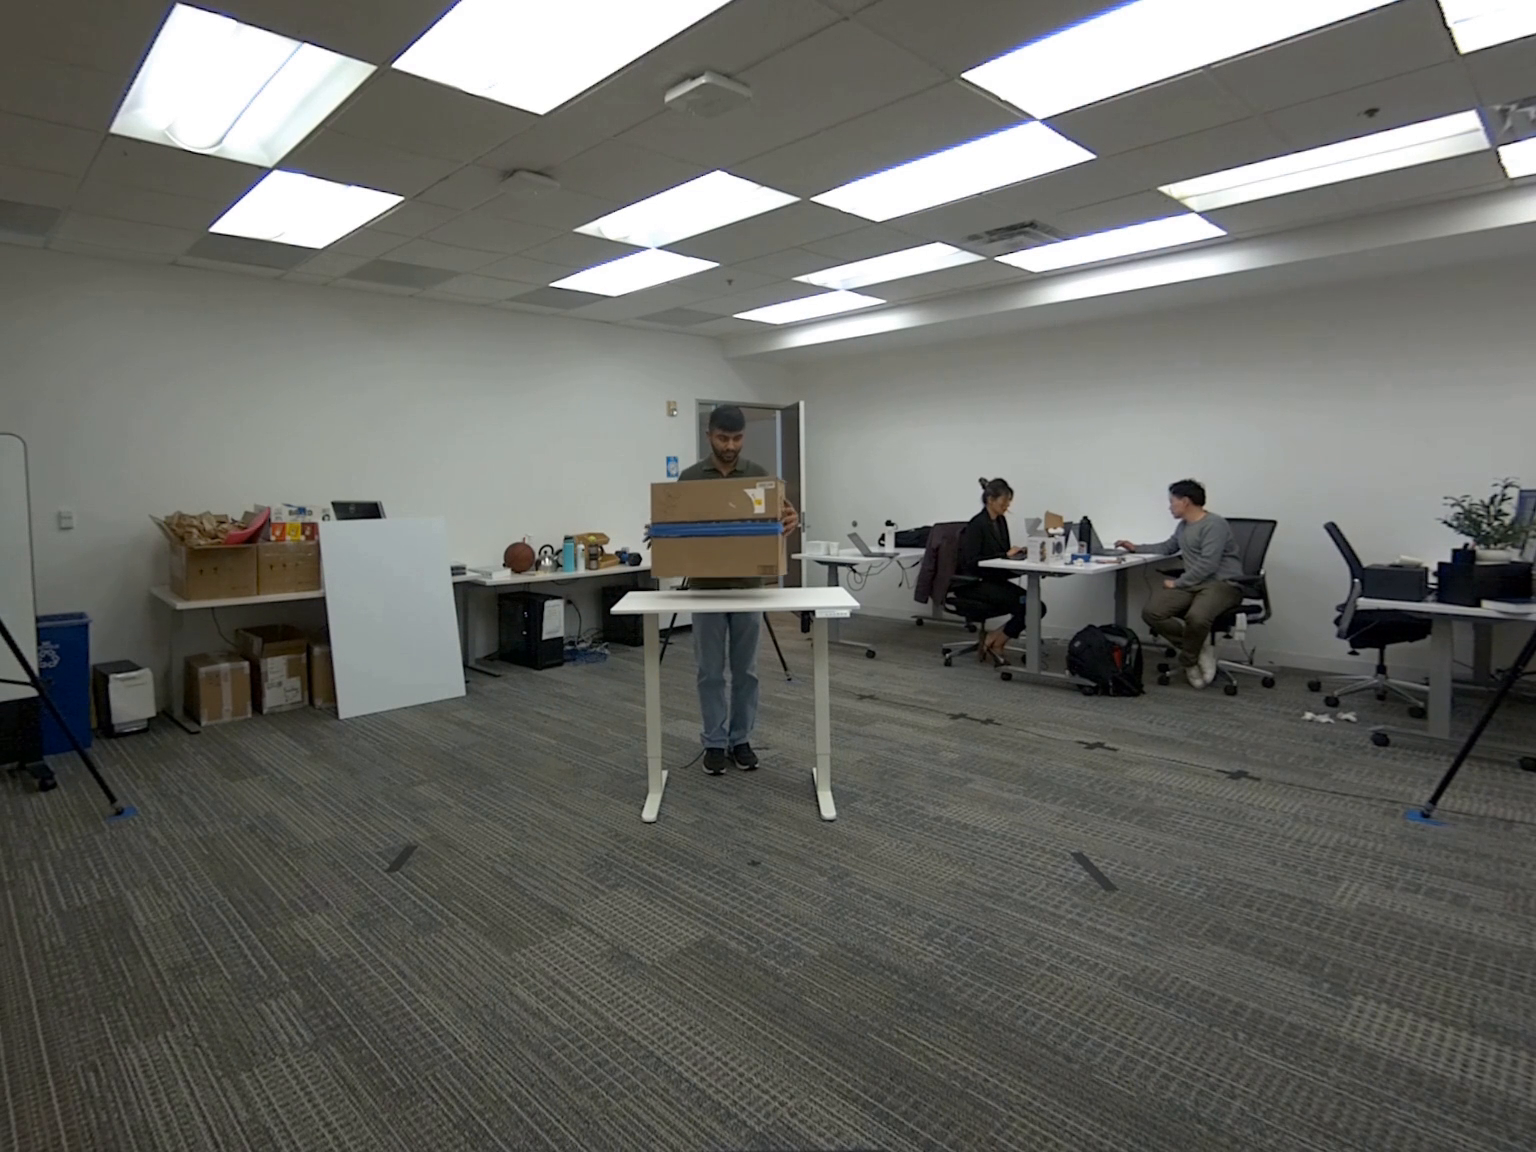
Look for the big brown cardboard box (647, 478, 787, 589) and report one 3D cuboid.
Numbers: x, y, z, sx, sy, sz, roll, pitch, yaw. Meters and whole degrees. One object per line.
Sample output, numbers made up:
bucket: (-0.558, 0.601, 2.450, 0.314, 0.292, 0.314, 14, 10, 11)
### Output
big brown cardboard box: (-0.208, -0.201, 3.754, 0.597, 0.417, 0.230, -1, 1, 14)
